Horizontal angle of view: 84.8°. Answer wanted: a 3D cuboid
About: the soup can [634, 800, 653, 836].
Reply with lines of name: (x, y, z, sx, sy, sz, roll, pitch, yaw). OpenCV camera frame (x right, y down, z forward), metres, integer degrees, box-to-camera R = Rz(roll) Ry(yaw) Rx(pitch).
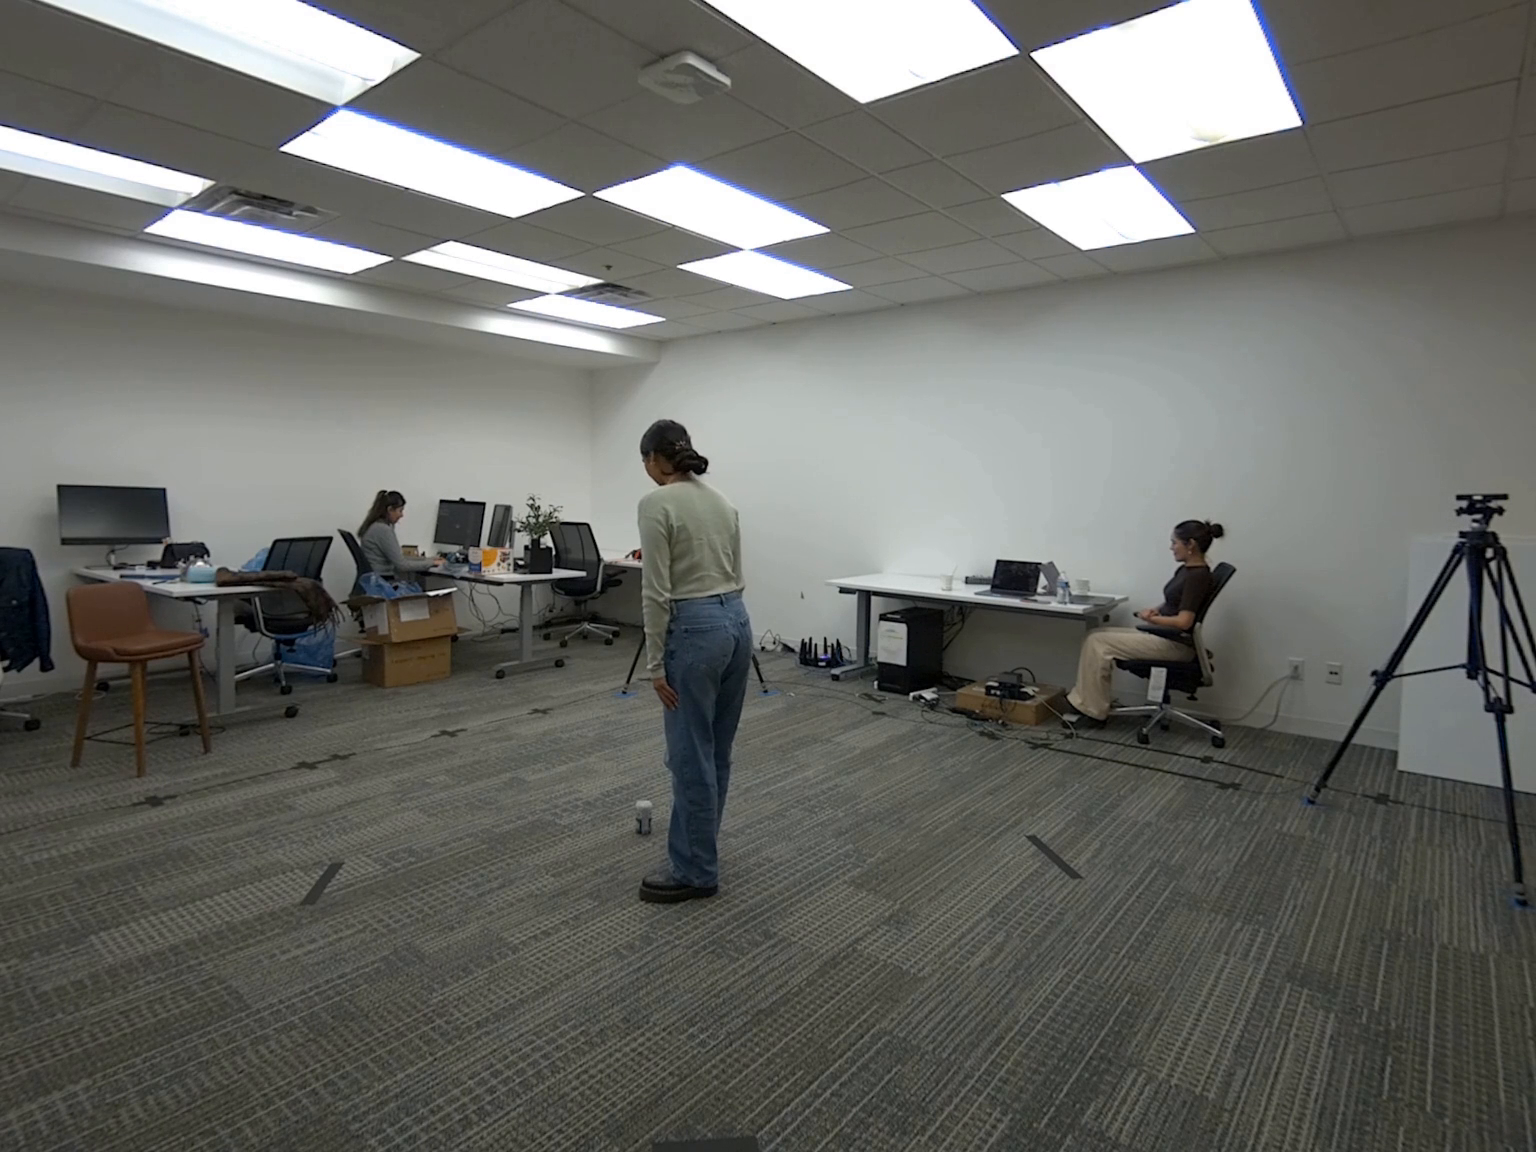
soup can: (-0.511, 0.973, 3.422, 0.067, 0.121, 0.067, 1, 5, -2)
